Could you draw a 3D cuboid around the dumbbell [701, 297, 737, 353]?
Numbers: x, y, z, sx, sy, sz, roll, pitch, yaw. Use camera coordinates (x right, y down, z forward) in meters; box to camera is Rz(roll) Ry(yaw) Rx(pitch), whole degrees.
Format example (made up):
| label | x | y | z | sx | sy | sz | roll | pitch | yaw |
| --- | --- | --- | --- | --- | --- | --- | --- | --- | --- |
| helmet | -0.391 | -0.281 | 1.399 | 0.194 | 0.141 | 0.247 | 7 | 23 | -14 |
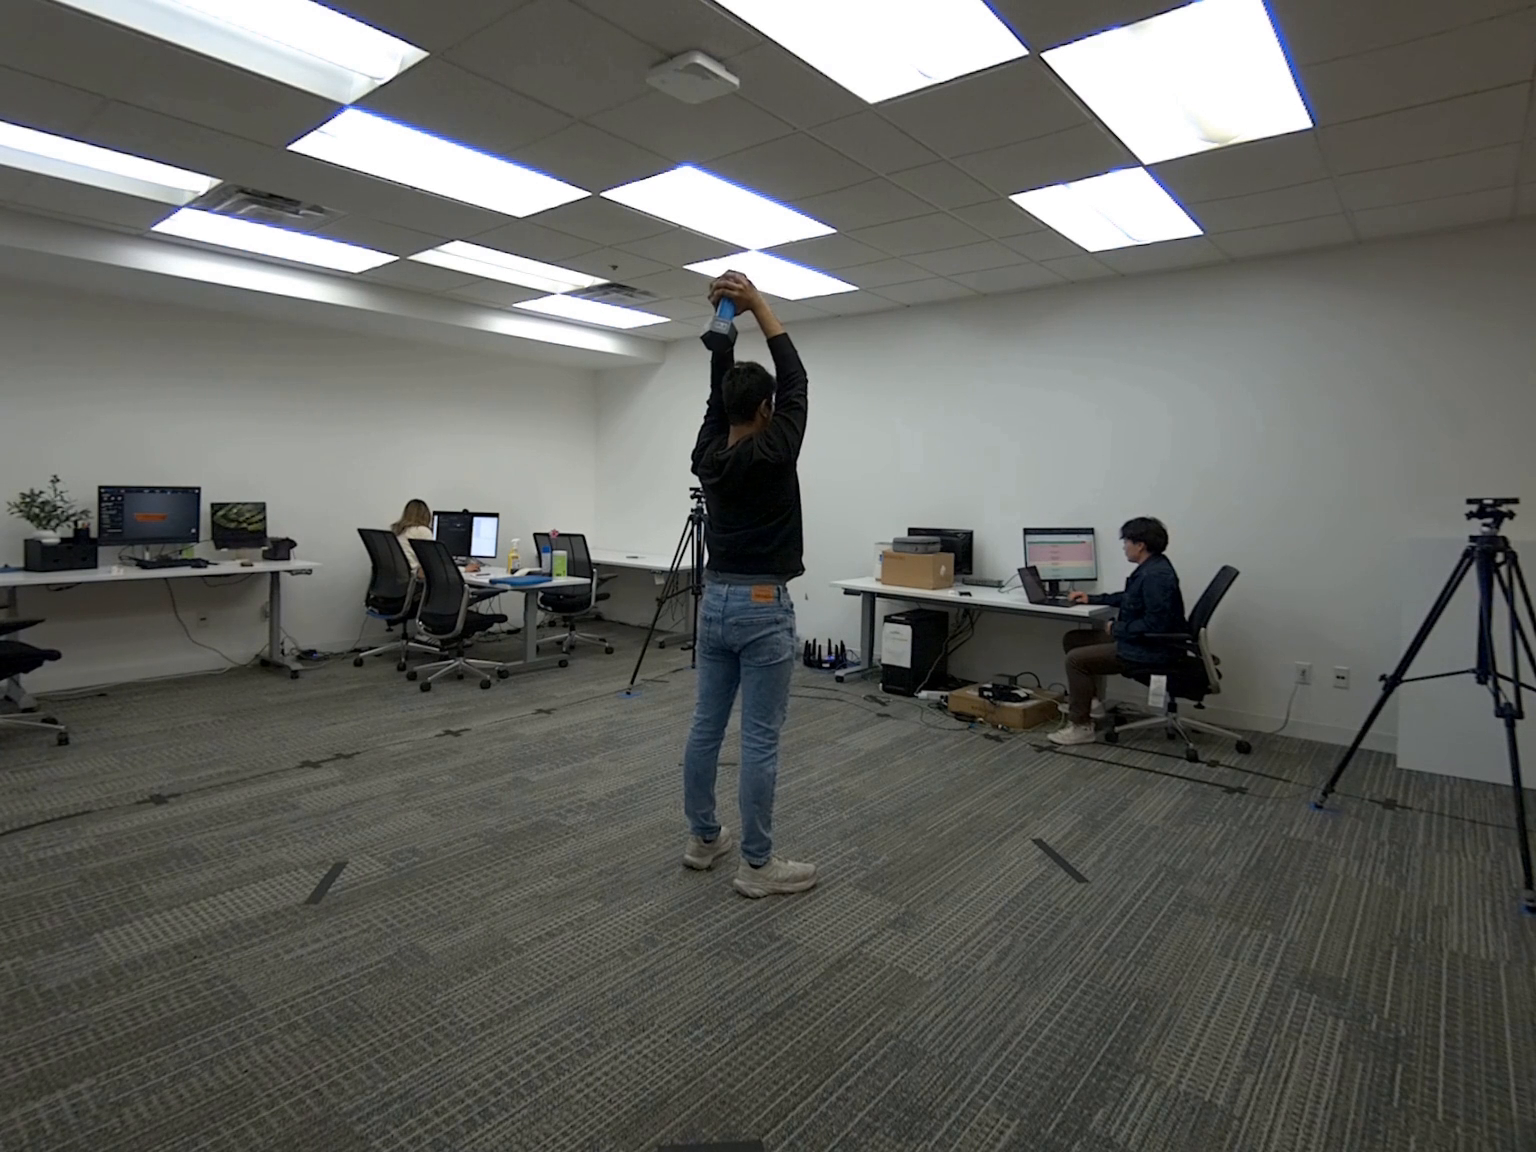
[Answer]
| label | x | y | z | sx | sy | sz | roll | pitch | yaw |
| --- | --- | --- | --- | --- | --- | --- | --- | --- | --- |
| dumbbell | -0.154 | -0.900 | 2.918 | 0.105 | 0.298 | 0.125 | 26 | -28 | -28 |
